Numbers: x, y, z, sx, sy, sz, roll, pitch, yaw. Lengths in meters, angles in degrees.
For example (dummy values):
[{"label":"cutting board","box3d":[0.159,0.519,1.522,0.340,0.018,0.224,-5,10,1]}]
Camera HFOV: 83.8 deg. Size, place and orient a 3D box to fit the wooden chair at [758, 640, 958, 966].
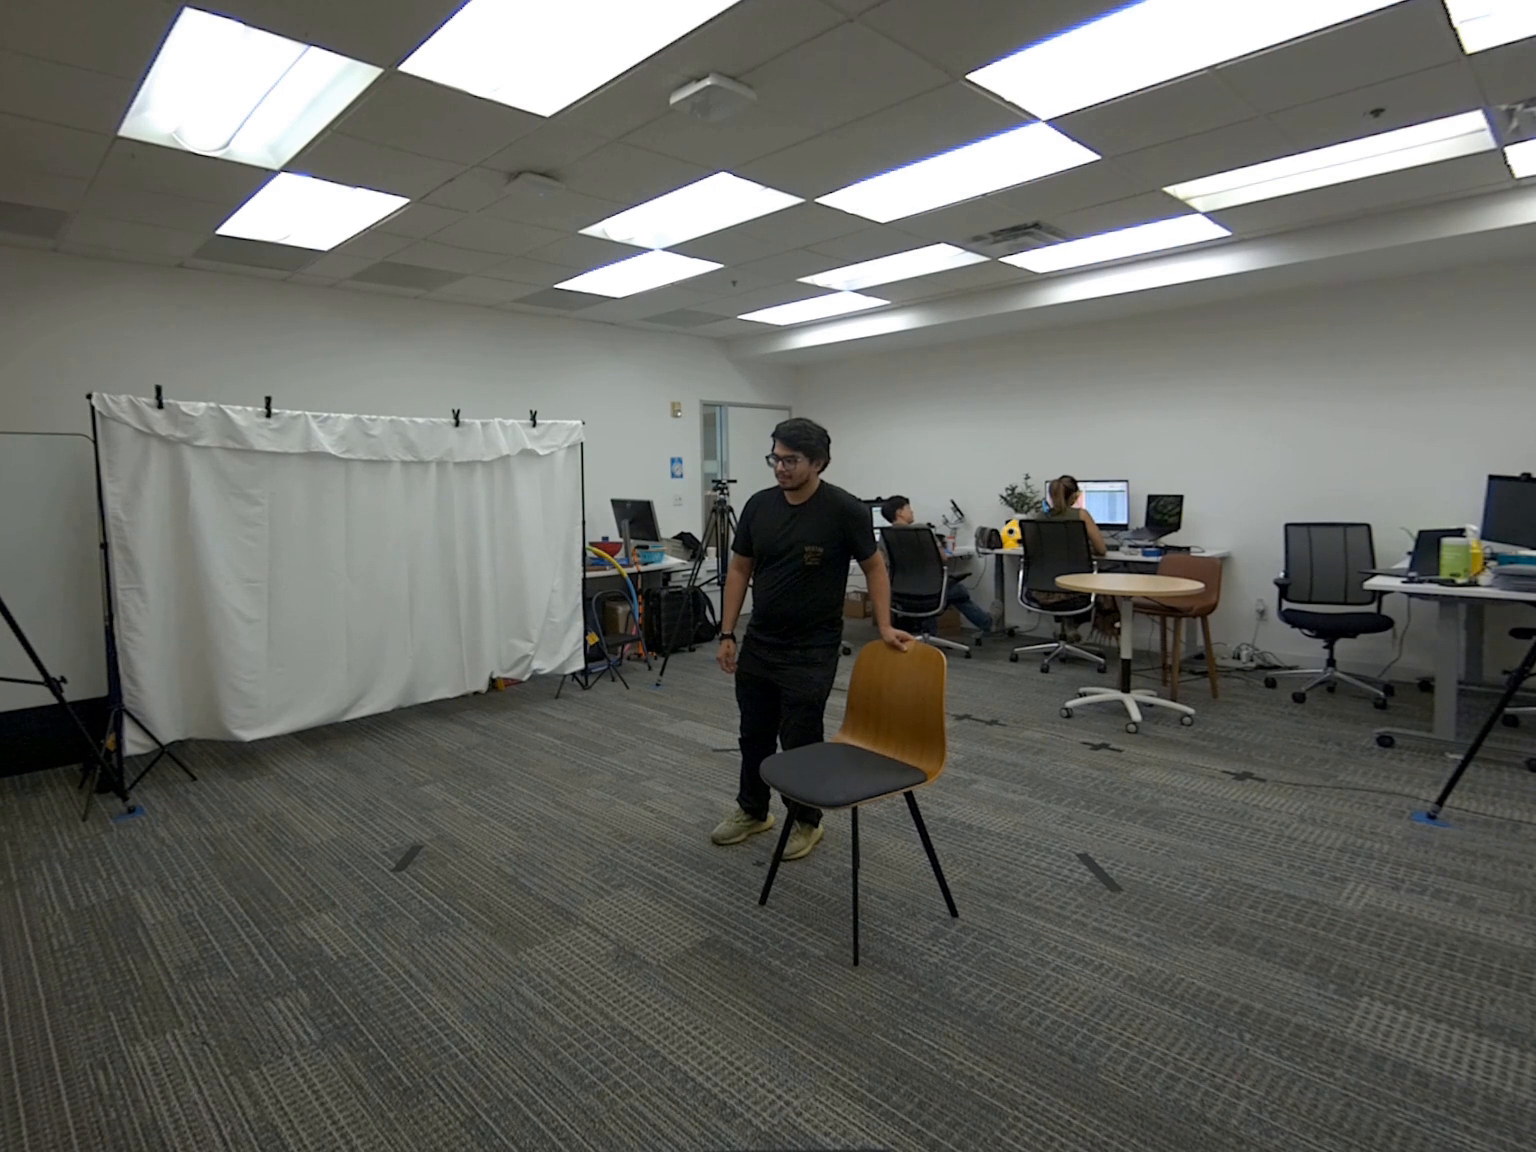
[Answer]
[{"label":"wooden chair","box3d":[0.278,0.661,2.714,0.508,0.876,0.492,1,2,-38]}]
